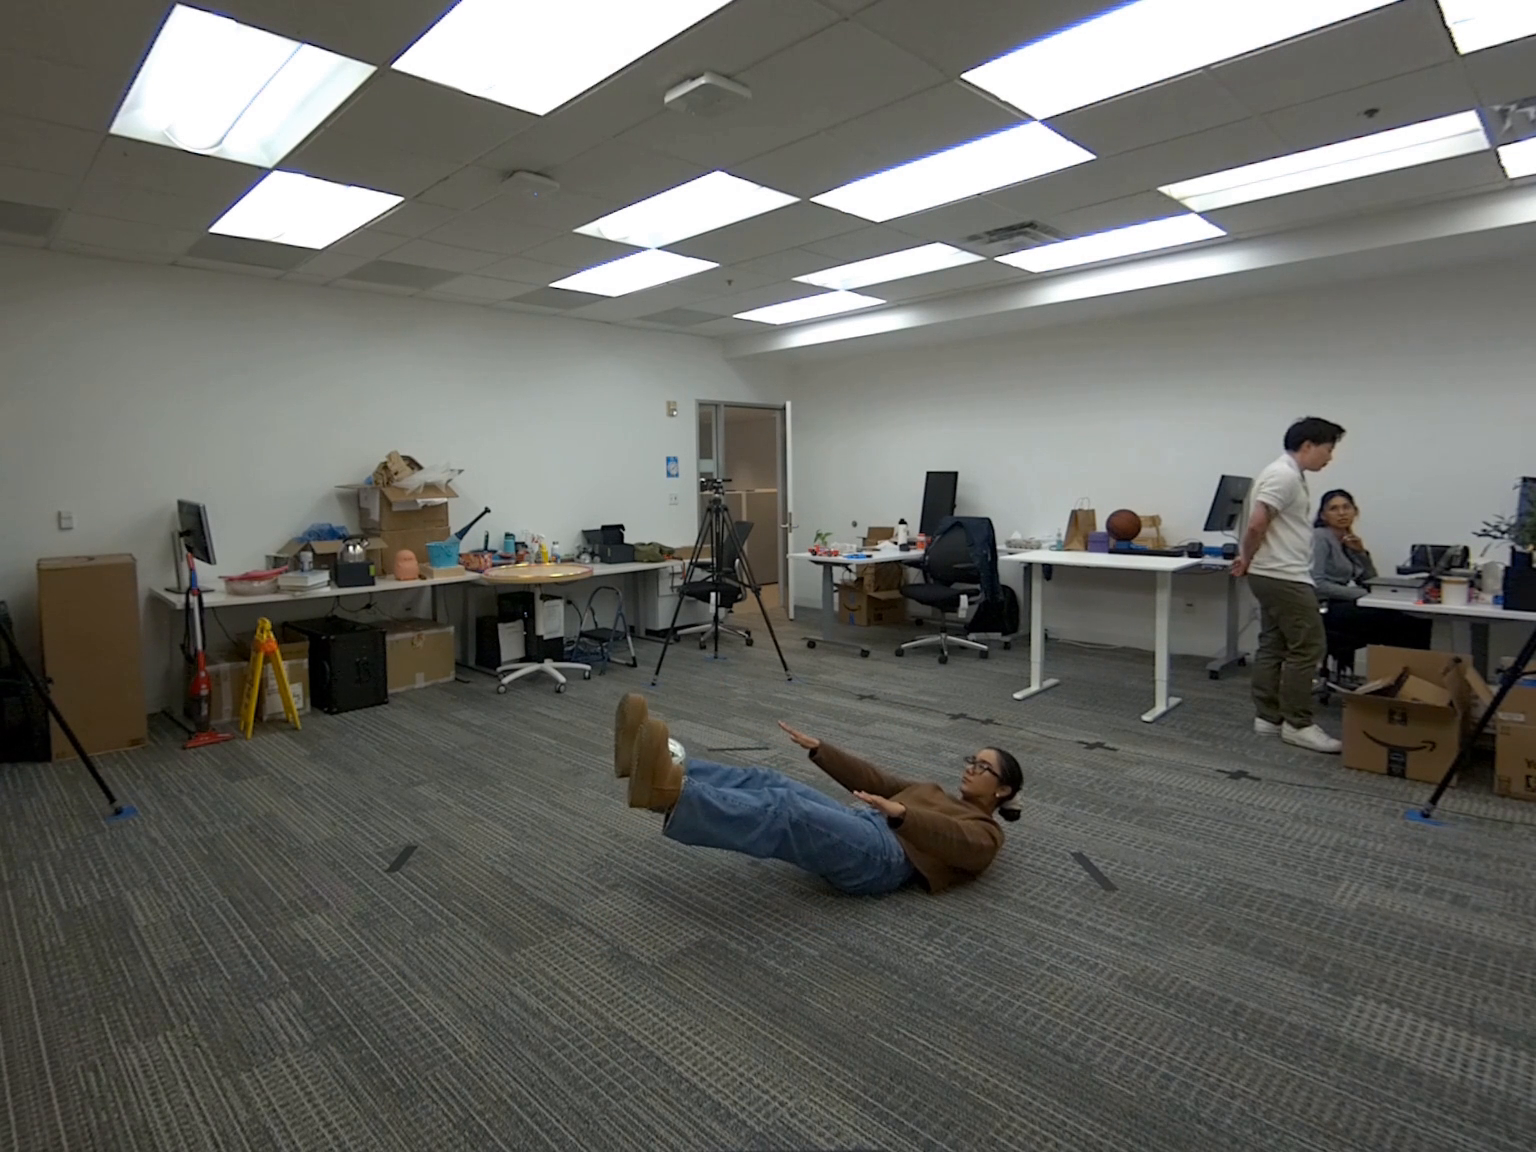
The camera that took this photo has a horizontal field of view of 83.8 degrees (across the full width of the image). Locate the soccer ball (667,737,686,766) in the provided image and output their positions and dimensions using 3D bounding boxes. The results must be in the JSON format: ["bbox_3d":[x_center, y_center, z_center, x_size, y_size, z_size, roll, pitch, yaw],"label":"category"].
[{"bbox_3d":[-0.333,0.617,2.745,0.187,0.187,0.188,-1,5,-2],"label":"soccer ball"}]
